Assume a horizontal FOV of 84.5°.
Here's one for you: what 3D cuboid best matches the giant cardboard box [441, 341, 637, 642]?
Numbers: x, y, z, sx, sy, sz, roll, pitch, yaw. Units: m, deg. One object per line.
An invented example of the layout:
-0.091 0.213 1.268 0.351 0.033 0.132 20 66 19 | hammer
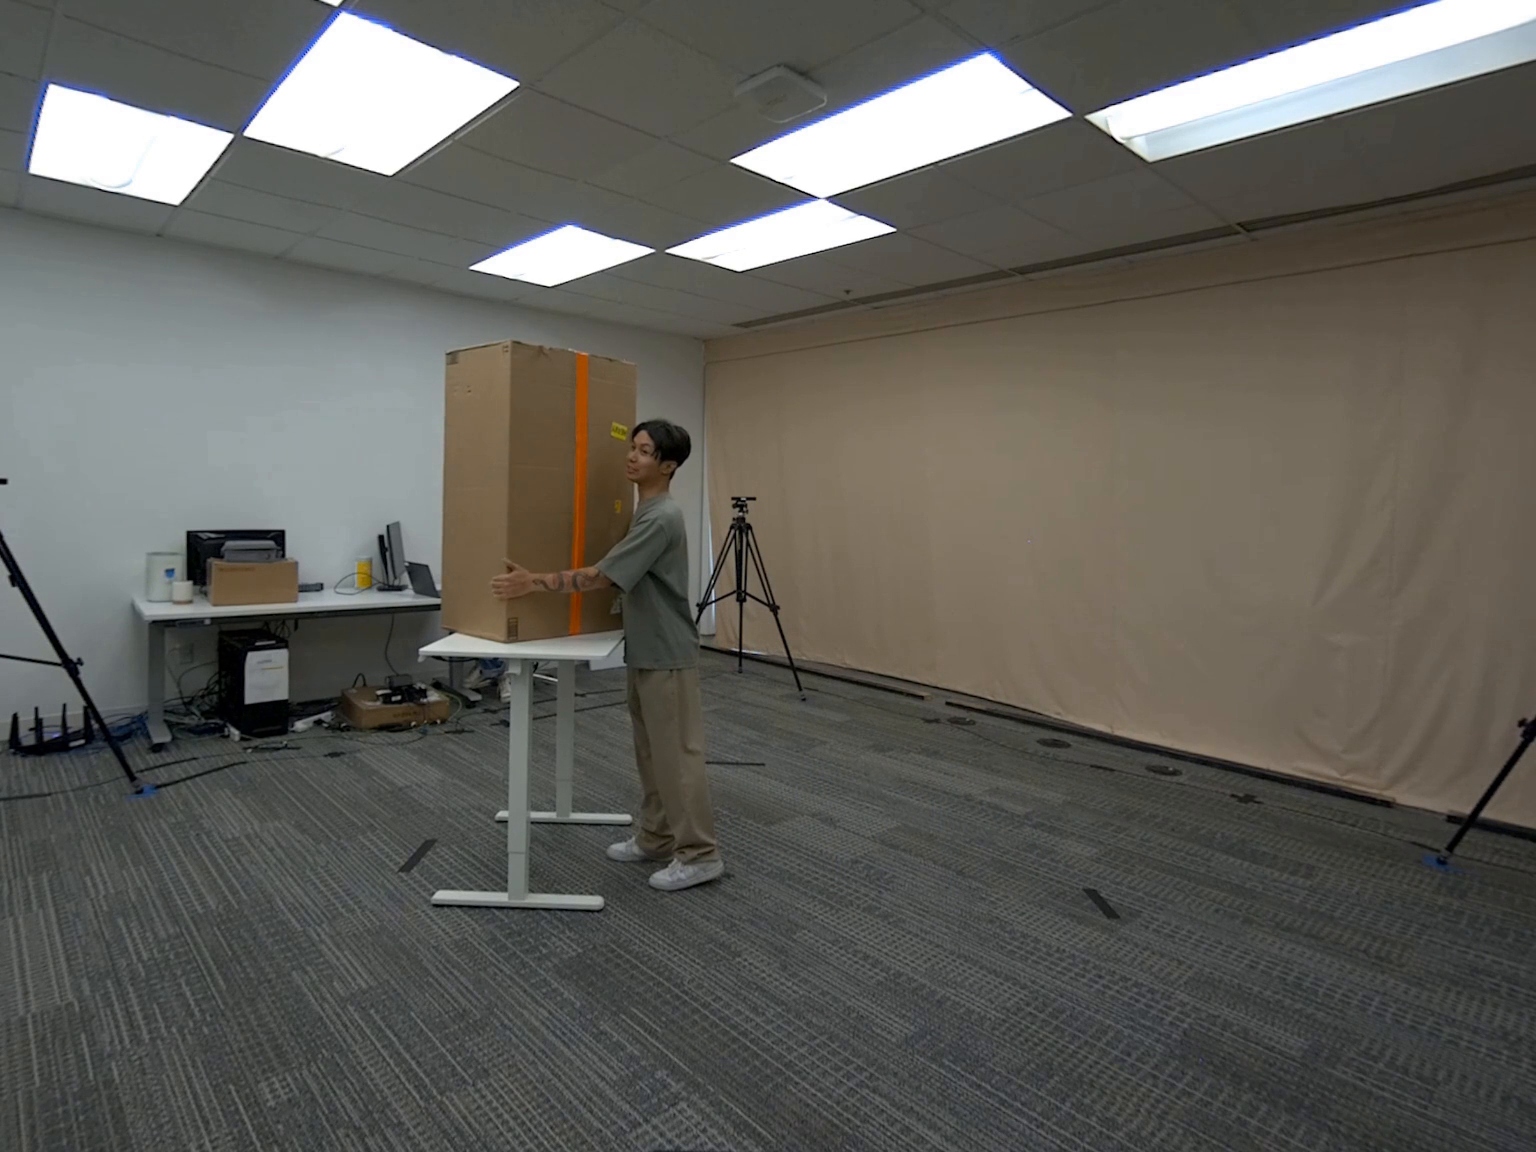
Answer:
-0.863 -0.309 3.171 0.437 1.024 0.564 4 3 39 | giant cardboard box
